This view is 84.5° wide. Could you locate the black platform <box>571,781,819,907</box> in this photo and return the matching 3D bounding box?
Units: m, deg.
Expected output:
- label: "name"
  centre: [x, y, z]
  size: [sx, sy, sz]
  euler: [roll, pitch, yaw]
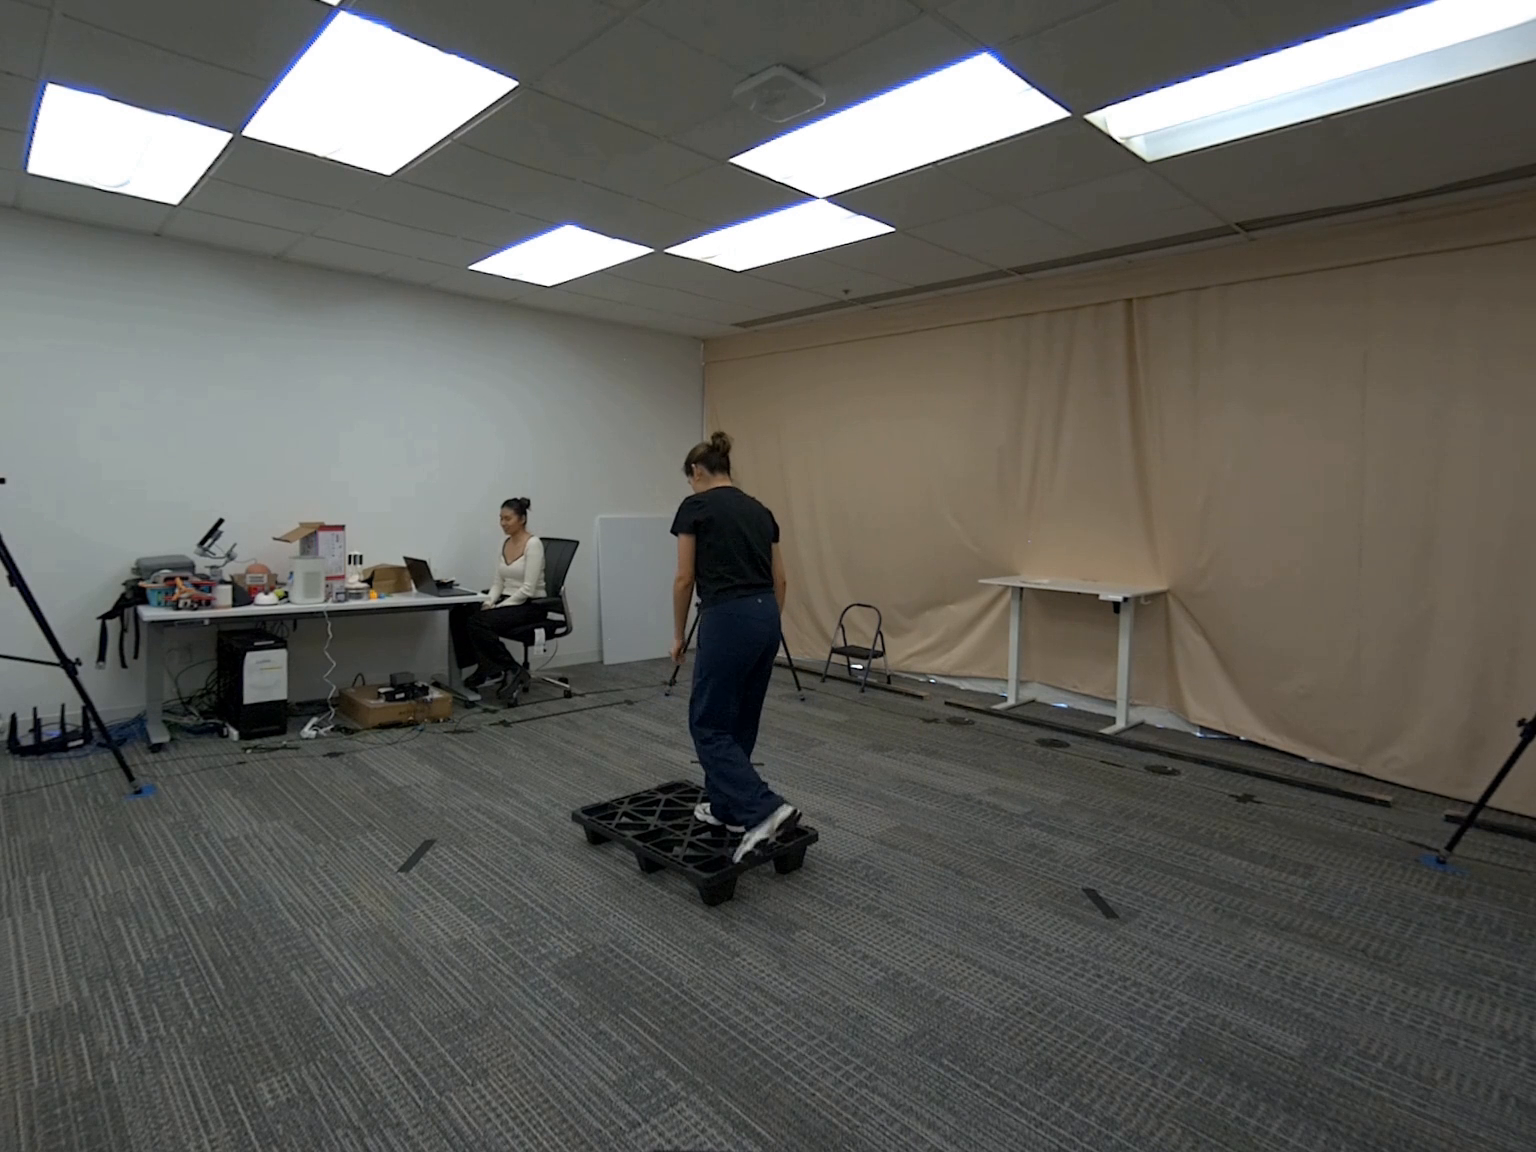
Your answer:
- label: "black platform"
  centre: [-0.298, 1.021, 3.274]
  size: [0.826, 0.143, 0.591]
  euler: [7, 7, 44]
